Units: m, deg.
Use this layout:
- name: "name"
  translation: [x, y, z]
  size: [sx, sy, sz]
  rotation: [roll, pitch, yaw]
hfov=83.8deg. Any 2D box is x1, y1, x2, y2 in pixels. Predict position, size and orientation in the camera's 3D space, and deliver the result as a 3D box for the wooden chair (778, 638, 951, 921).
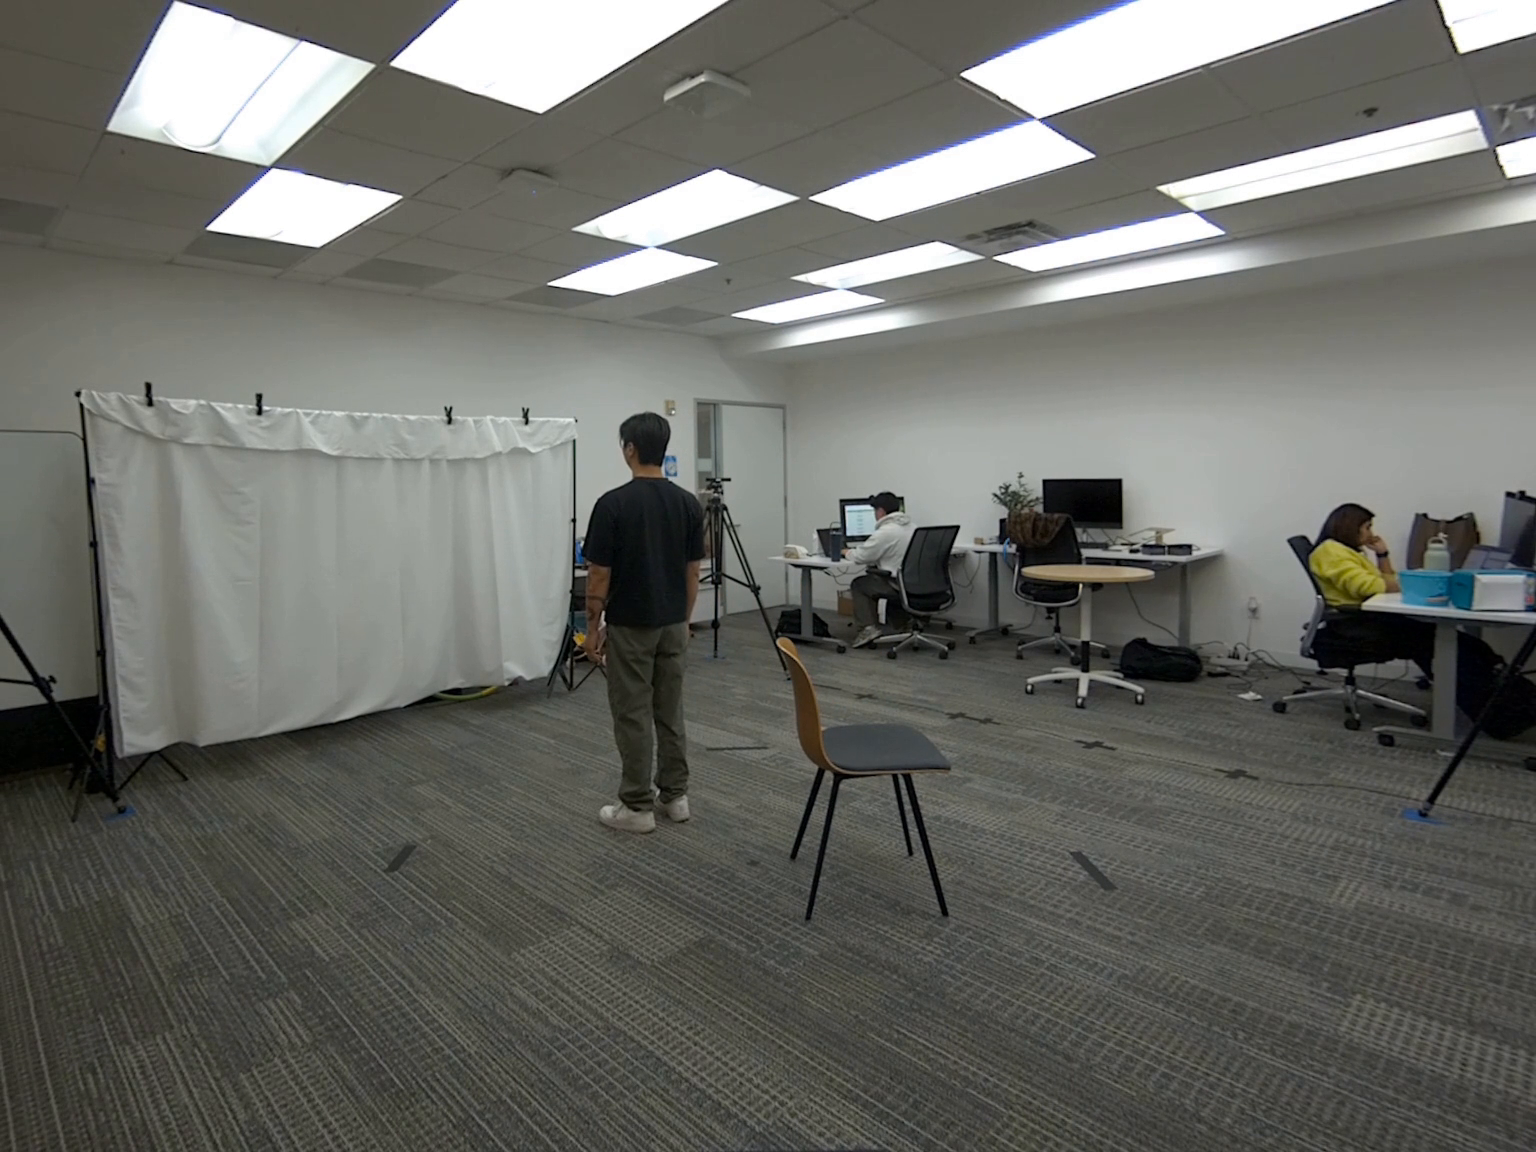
- name: "wooden chair"
  translation: [0.328, 0.633, 2.893]
  size: [0.522, 0.874, 0.481]
  rotation: [-5, 4, -4]
